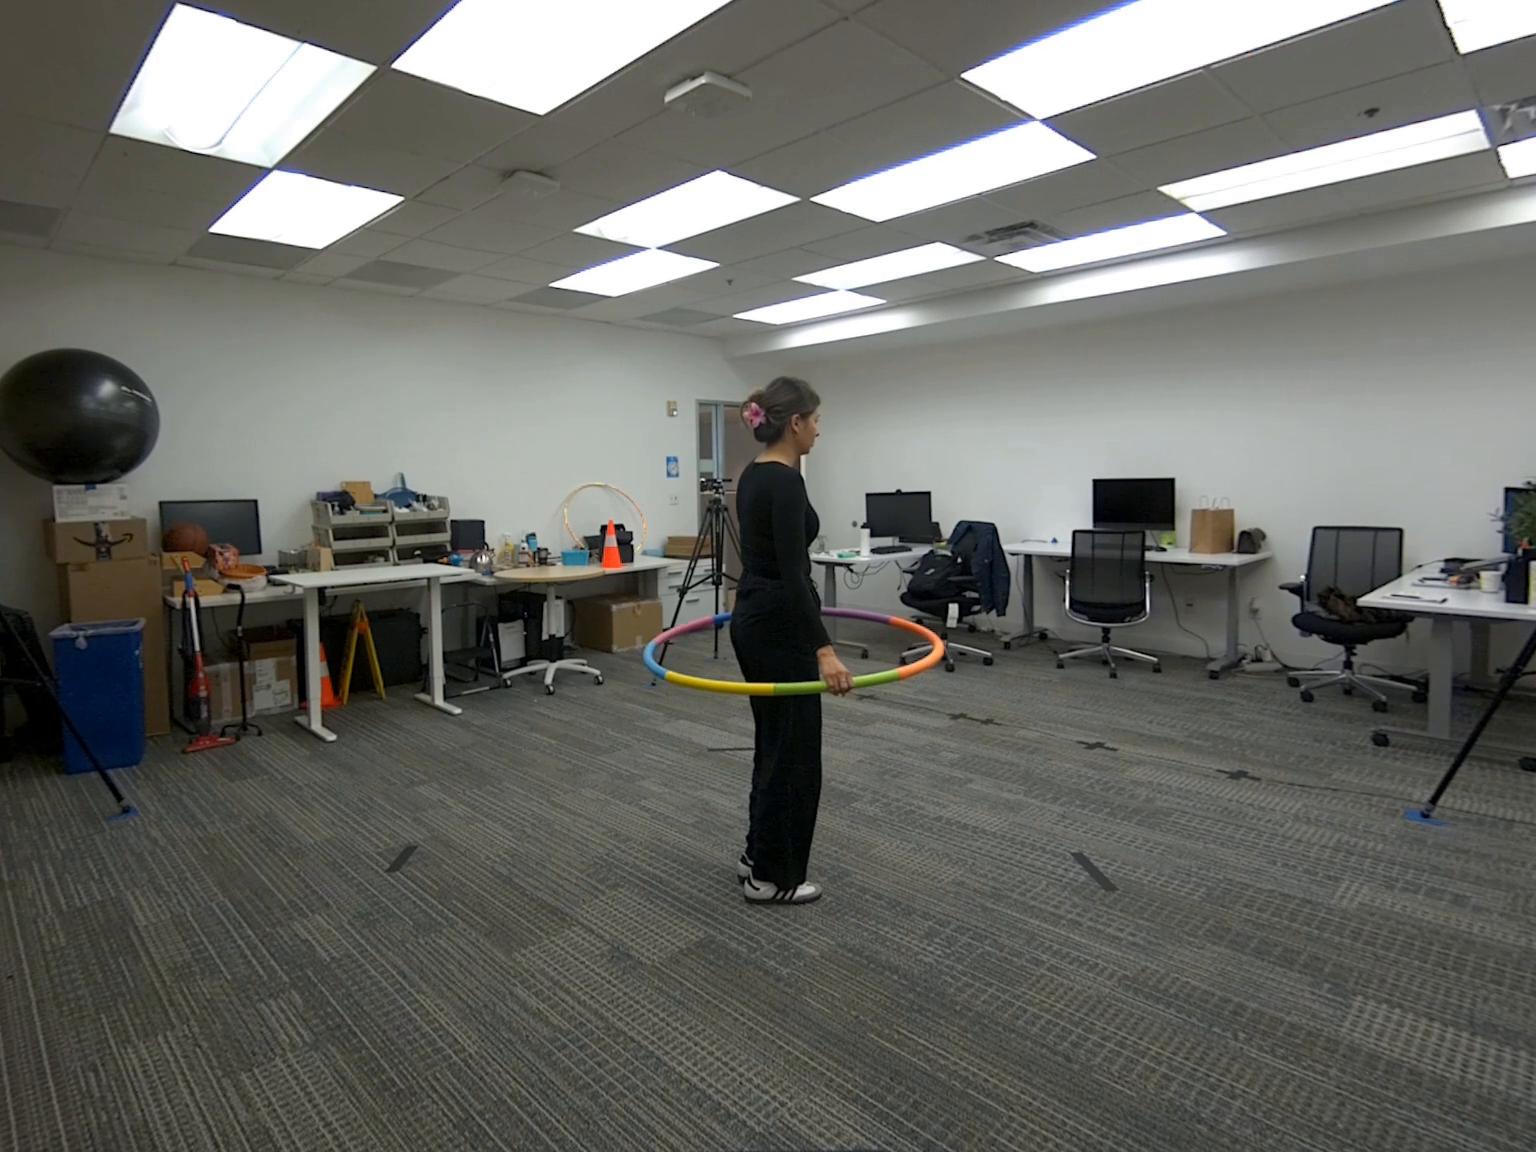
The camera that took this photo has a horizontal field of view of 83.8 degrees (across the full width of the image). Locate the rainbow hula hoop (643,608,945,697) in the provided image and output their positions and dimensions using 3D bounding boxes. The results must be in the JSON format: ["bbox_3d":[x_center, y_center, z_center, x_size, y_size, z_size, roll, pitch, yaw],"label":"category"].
[{"bbox_3d":[0.075,0.231,2.873,0.978,0.035,0.988,-3,11,-1],"label":"rainbow hula hoop"}]
